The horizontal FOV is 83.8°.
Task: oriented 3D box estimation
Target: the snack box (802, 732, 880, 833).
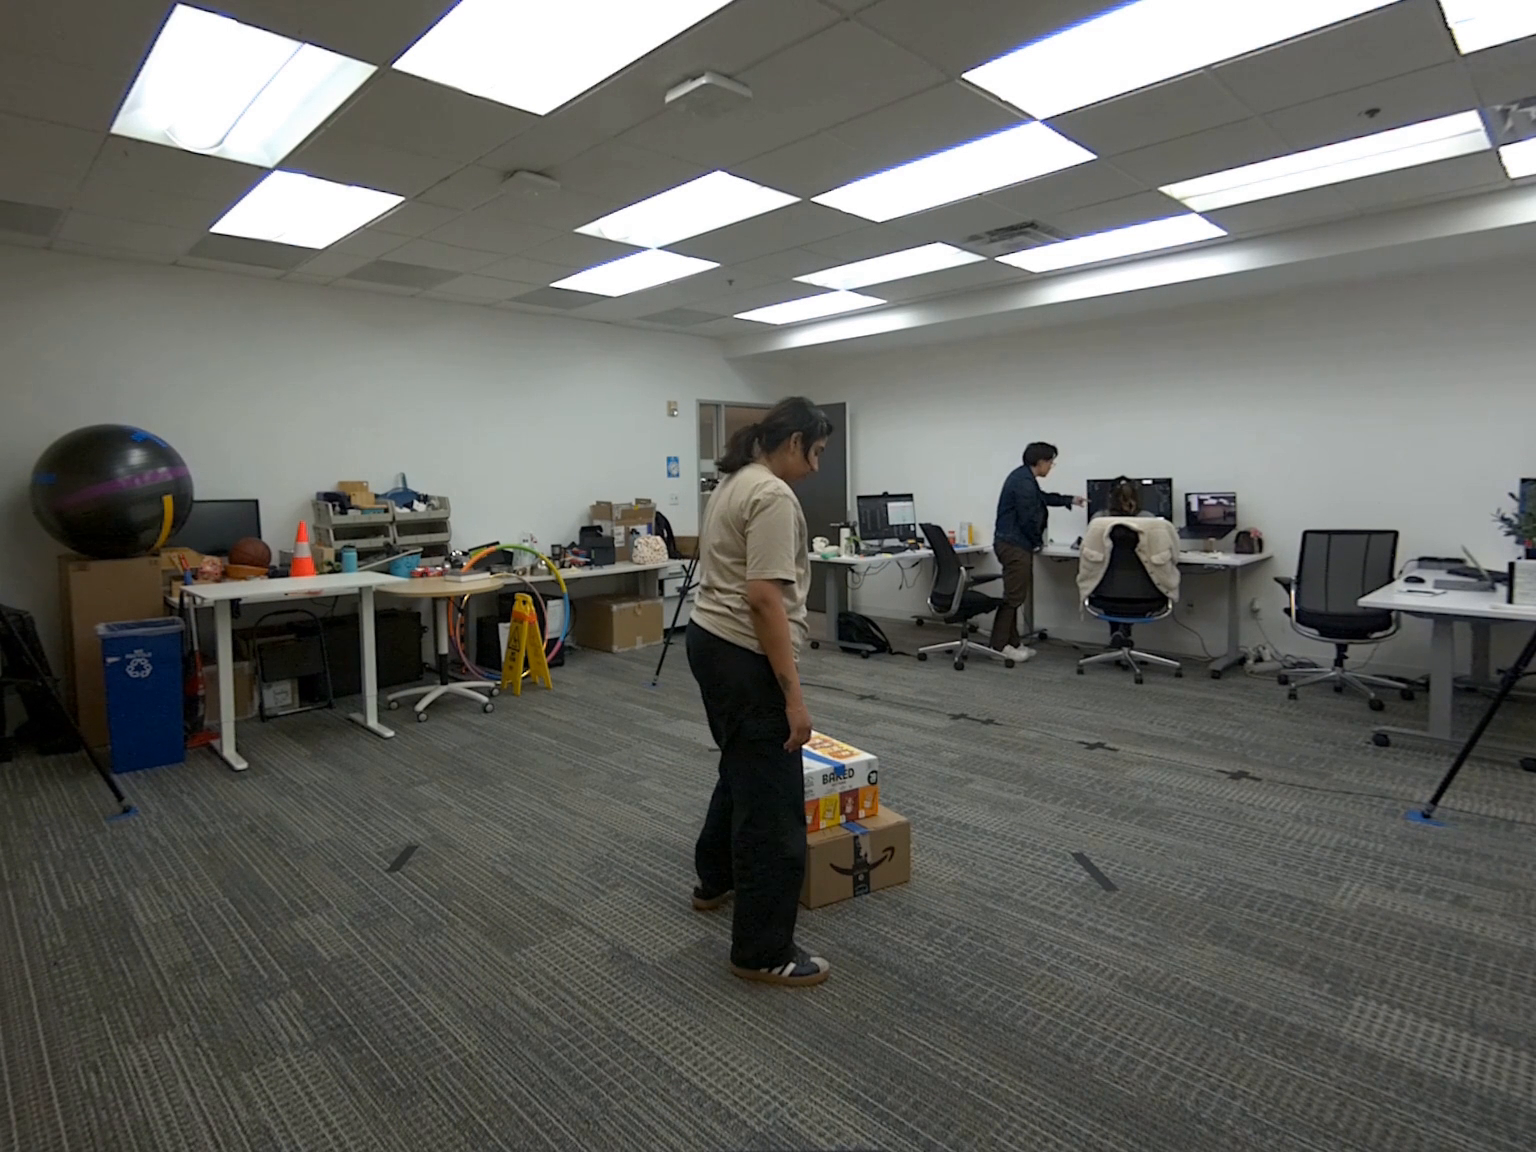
[{"bbox_3d":[0.136,0.730,3.081,0.332,0.205,0.416,-4,7,-31],"label":"snack box"}]
